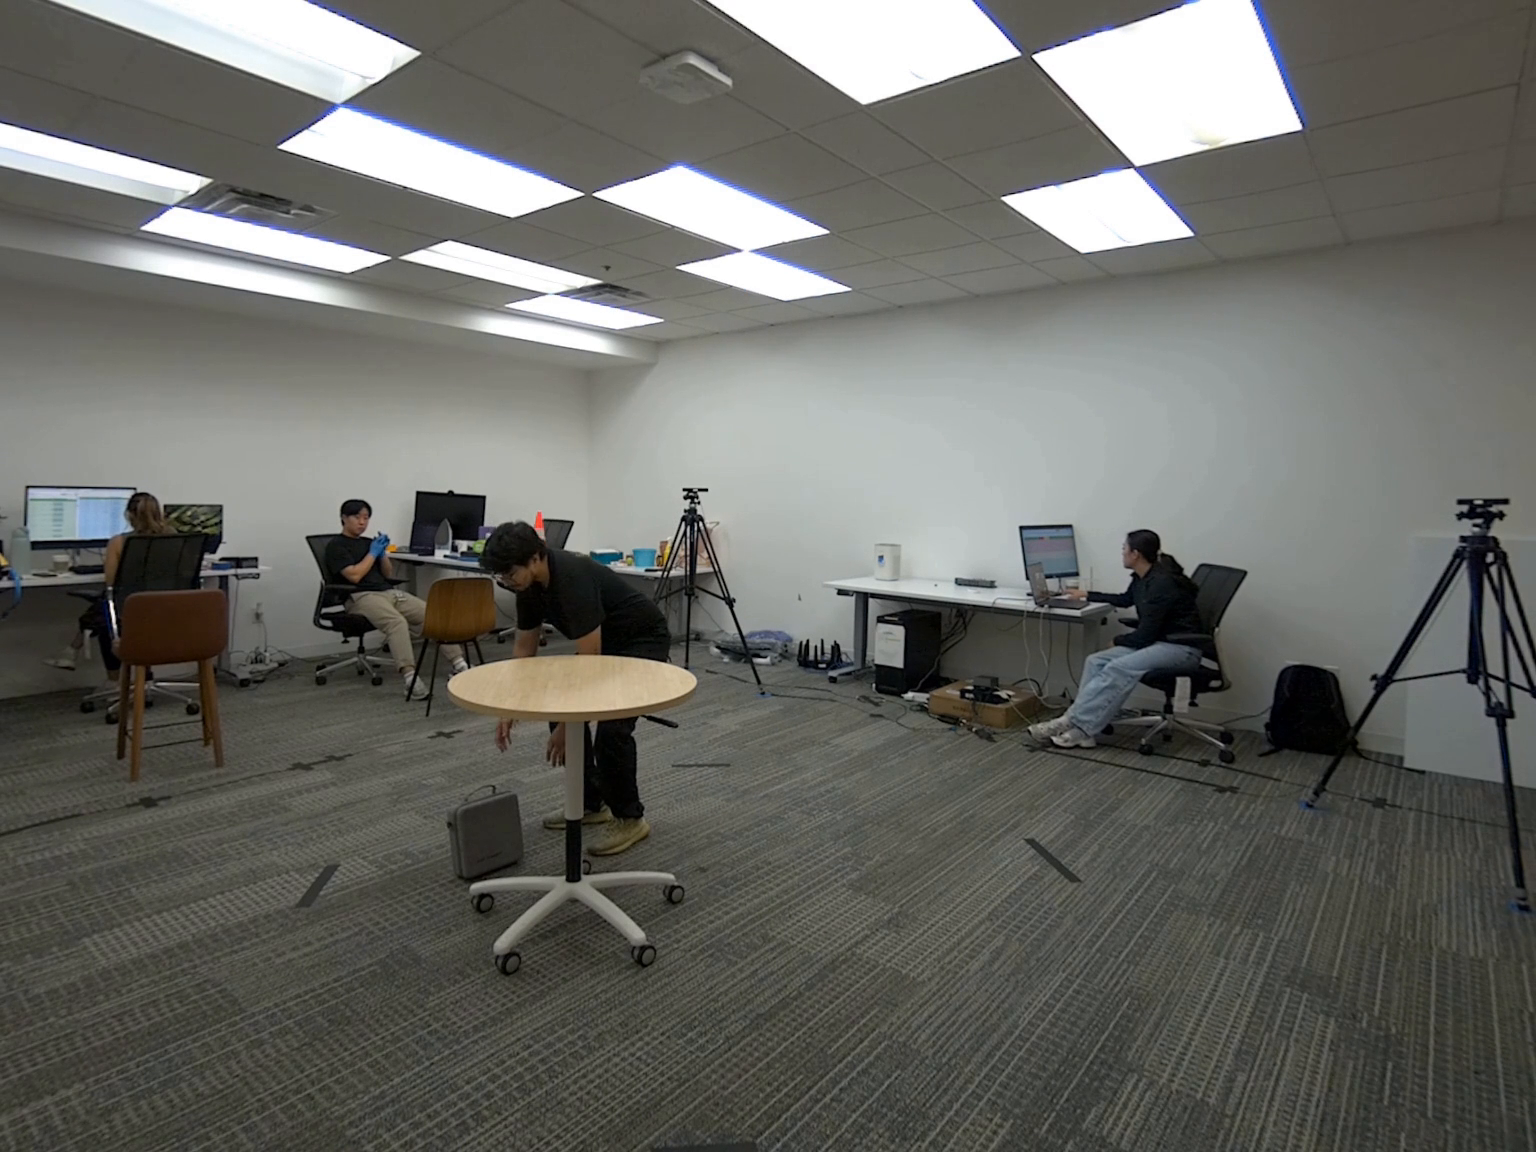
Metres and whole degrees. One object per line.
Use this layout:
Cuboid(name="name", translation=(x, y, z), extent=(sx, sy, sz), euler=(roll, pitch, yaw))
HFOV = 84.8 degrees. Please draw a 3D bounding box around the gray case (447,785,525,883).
Cuboid(name="gray case", translation=(-1.036, 0.923, 3.085), extent=(0.107, 0.261, 0.249), euler=(-10, -3, 43))
